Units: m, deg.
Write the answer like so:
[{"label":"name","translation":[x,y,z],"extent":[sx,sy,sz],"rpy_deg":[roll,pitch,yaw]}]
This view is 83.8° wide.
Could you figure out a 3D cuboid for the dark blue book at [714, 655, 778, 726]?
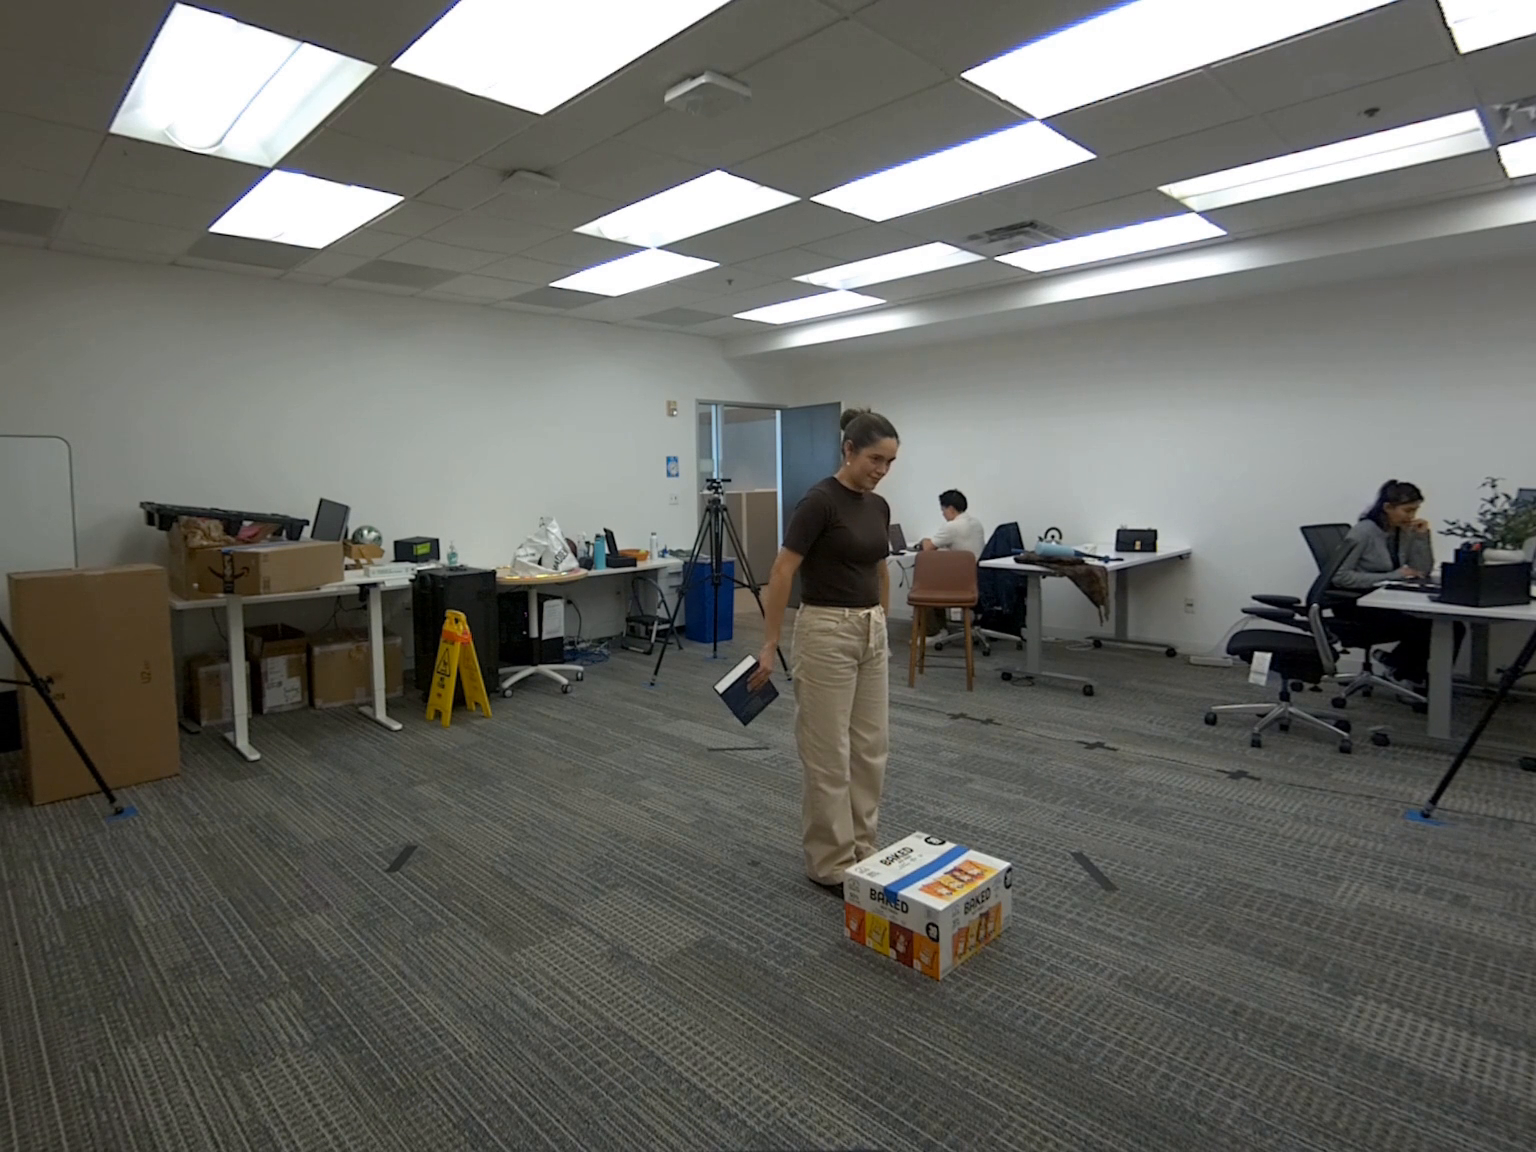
[{"label":"dark blue book","translation":[-0.059,0.371,2.800],"extent":[0.163,0.236,0.047],"rpy_deg":[-40,49,-11]}]
